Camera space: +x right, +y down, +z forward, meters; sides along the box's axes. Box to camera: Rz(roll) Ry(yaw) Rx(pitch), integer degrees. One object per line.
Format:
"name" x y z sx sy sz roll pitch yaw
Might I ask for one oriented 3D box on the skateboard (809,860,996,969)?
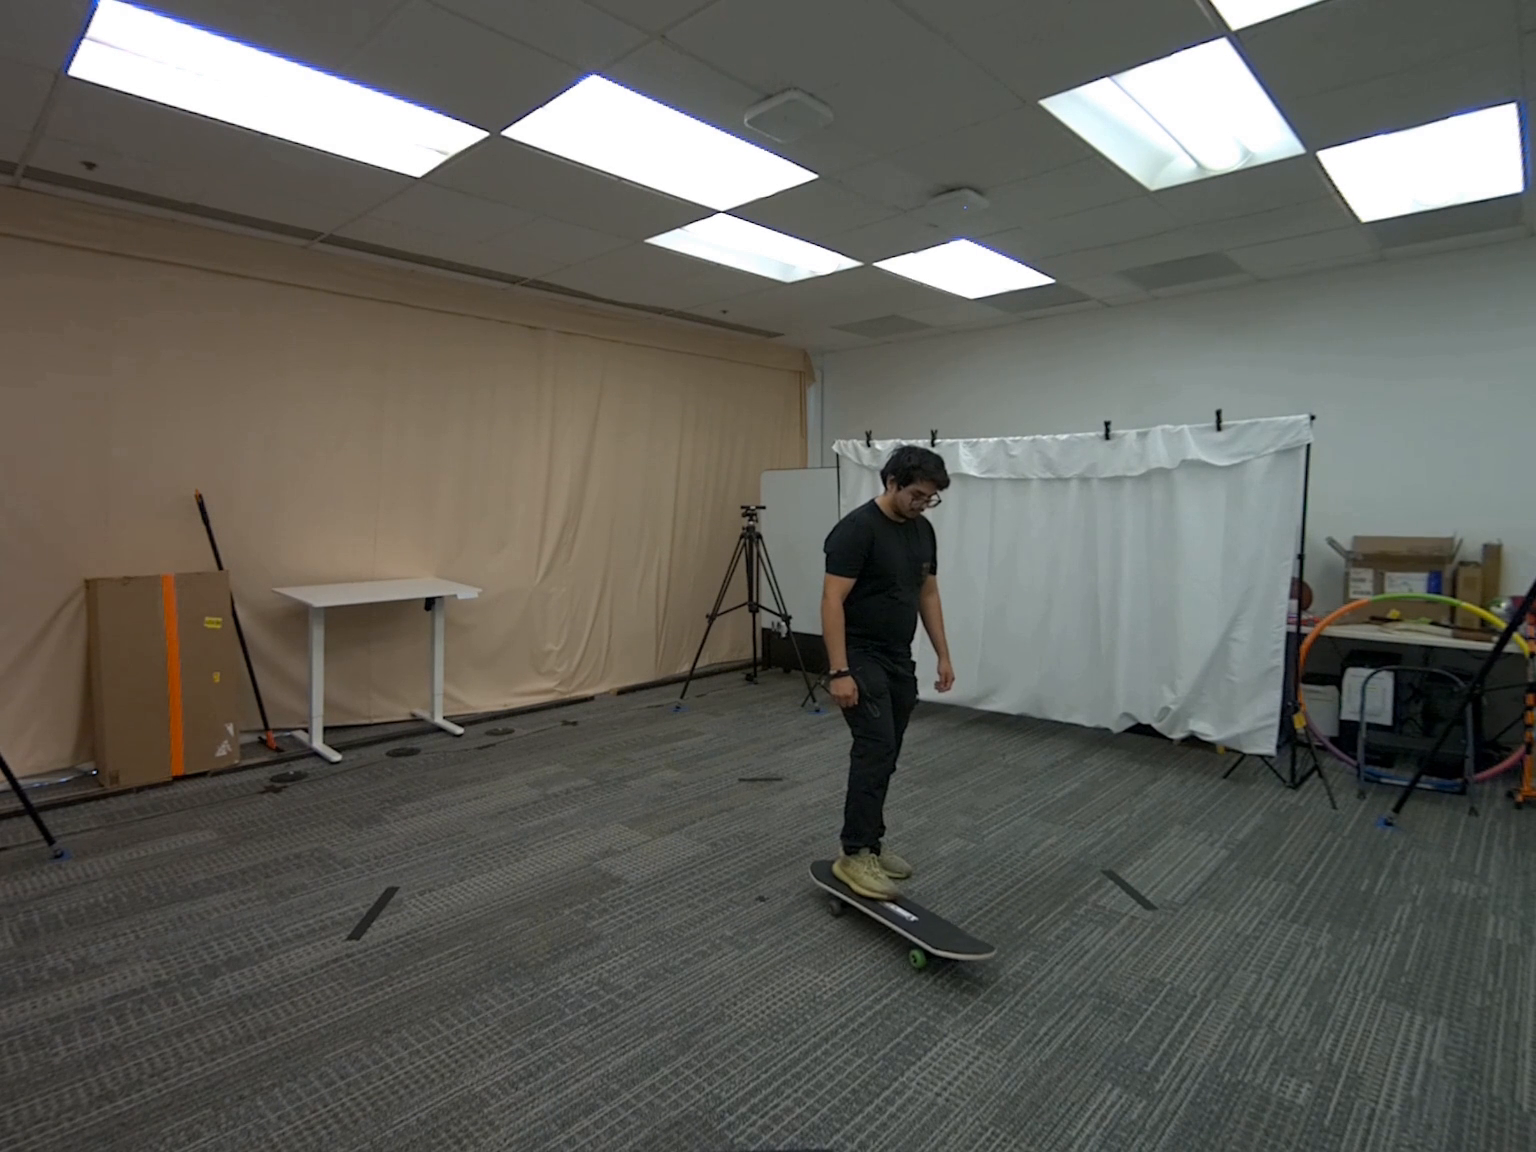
"skateboard" 0.411 1.101 2.728 0.188 0.110 0.809 3 1 -32
